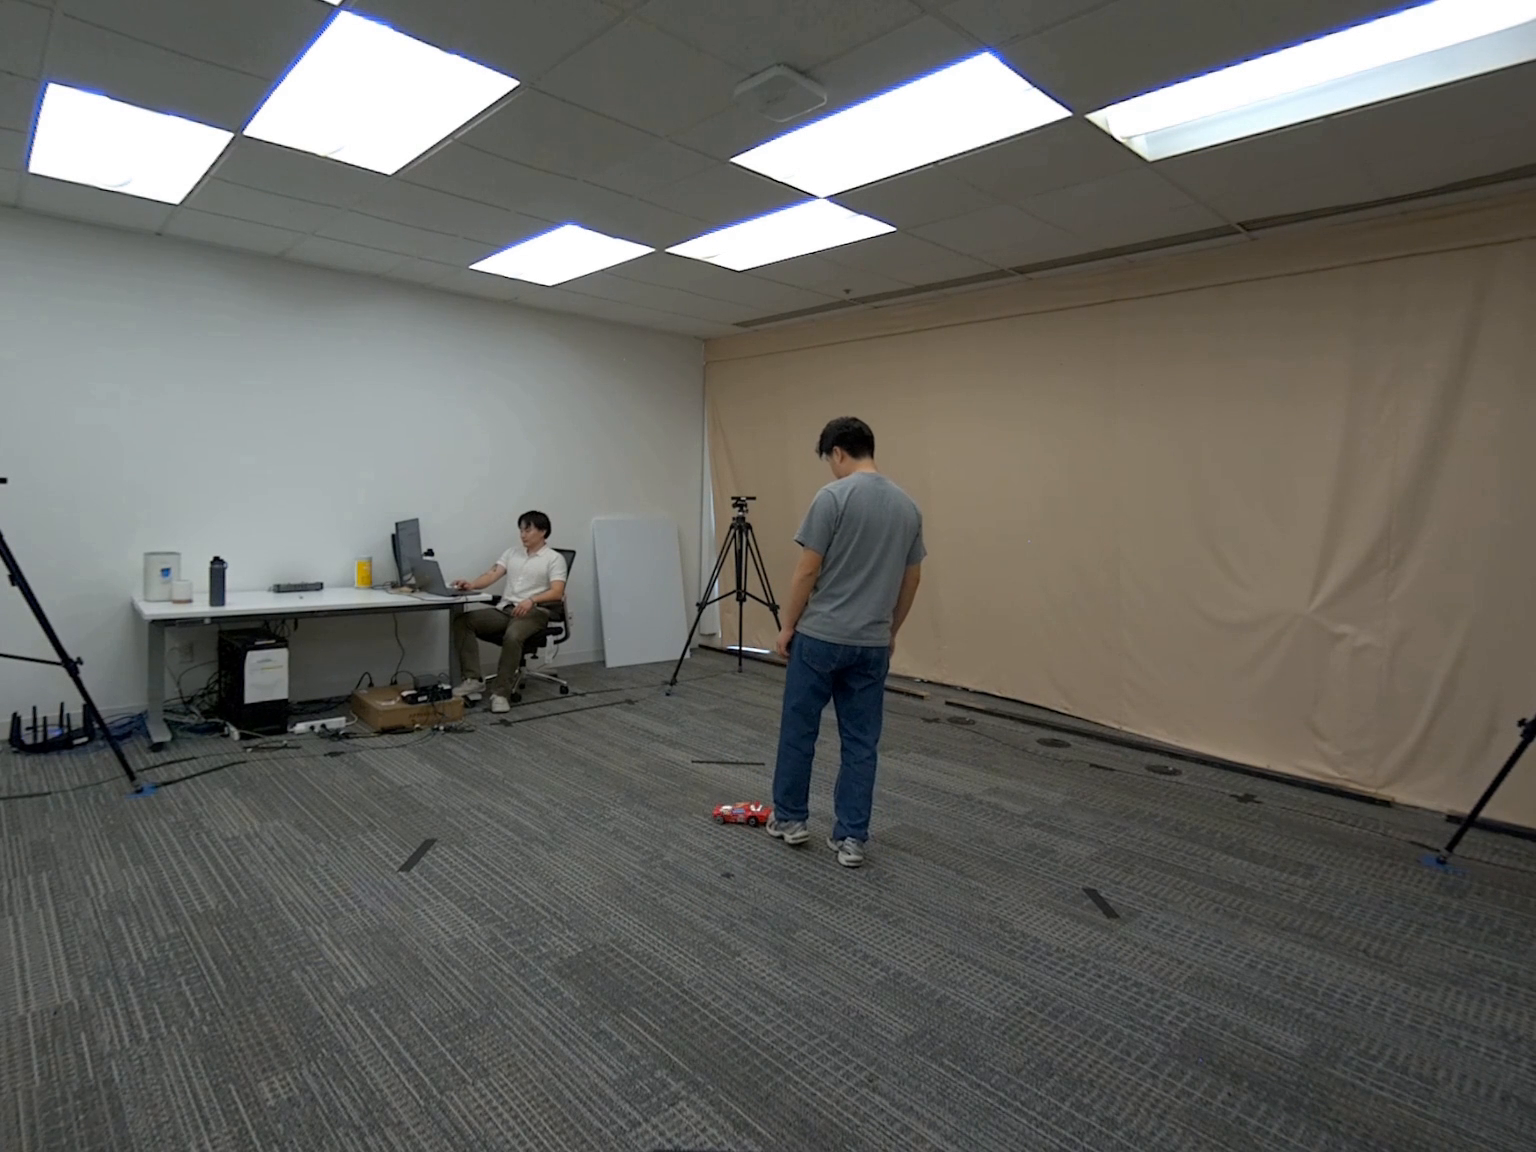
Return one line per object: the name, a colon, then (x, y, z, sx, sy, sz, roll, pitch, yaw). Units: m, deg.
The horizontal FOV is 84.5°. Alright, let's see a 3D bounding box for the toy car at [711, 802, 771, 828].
toy car: (-0.111, 1.026, 3.626, 0.256, 0.083, 0.130, -11, 3, 10)
